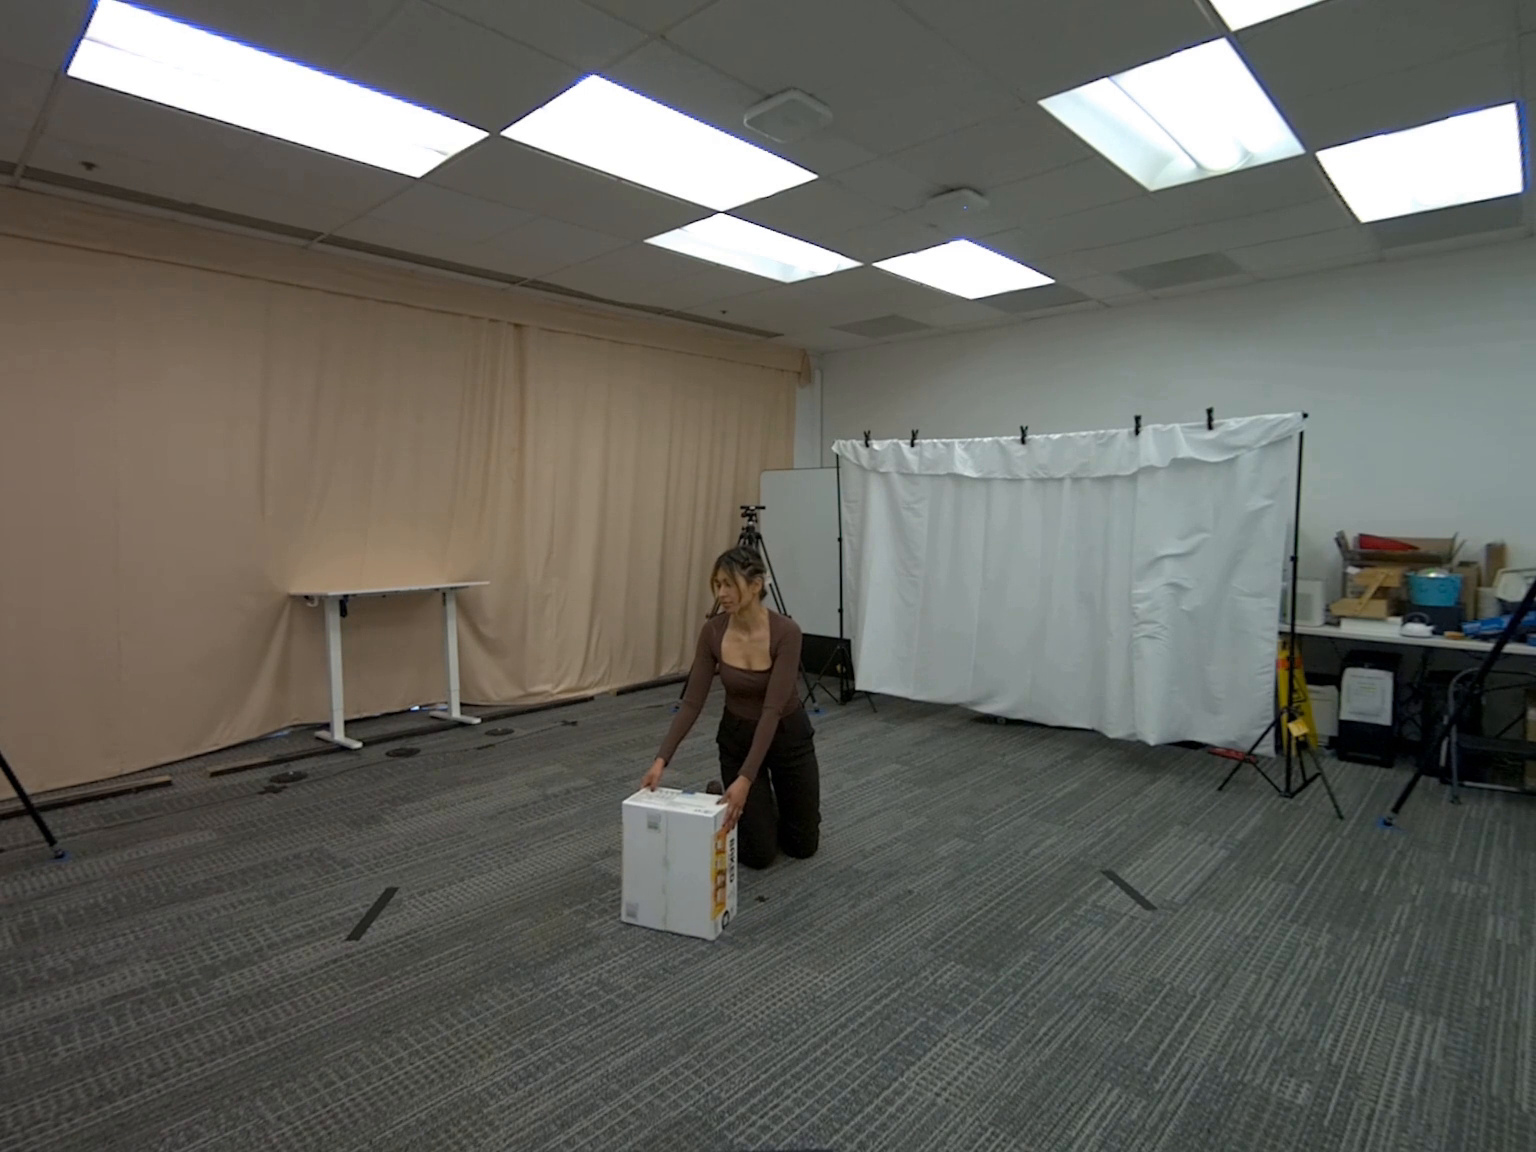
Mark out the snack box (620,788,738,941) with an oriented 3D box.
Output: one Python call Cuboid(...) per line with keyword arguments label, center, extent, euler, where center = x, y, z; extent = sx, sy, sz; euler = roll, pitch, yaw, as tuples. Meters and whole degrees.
Cuboid(label="snack box", center=(-0.299, 0.957, 2.835), extent=(0.348, 0.405, 0.201), euler=(1, 2, 21))
